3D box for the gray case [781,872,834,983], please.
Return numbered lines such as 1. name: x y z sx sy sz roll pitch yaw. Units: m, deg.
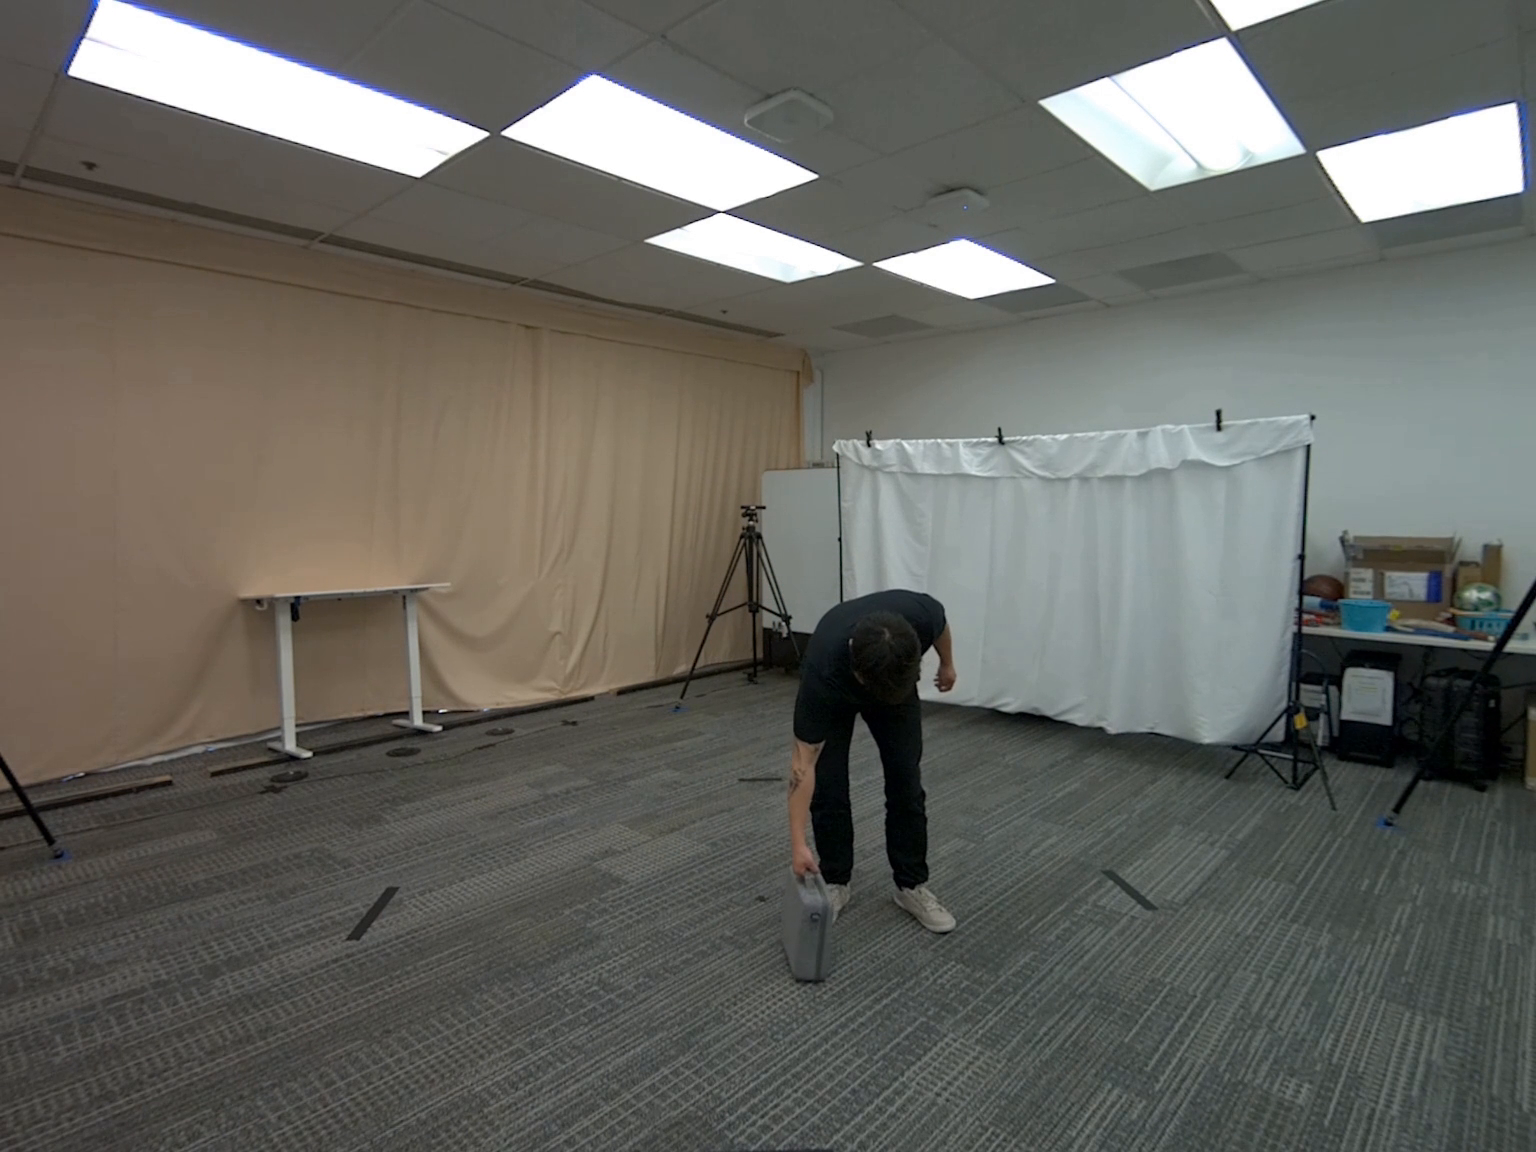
1. gray case: 0.116 1.043 2.552 0.103 0.260 0.259 3 3 -8
